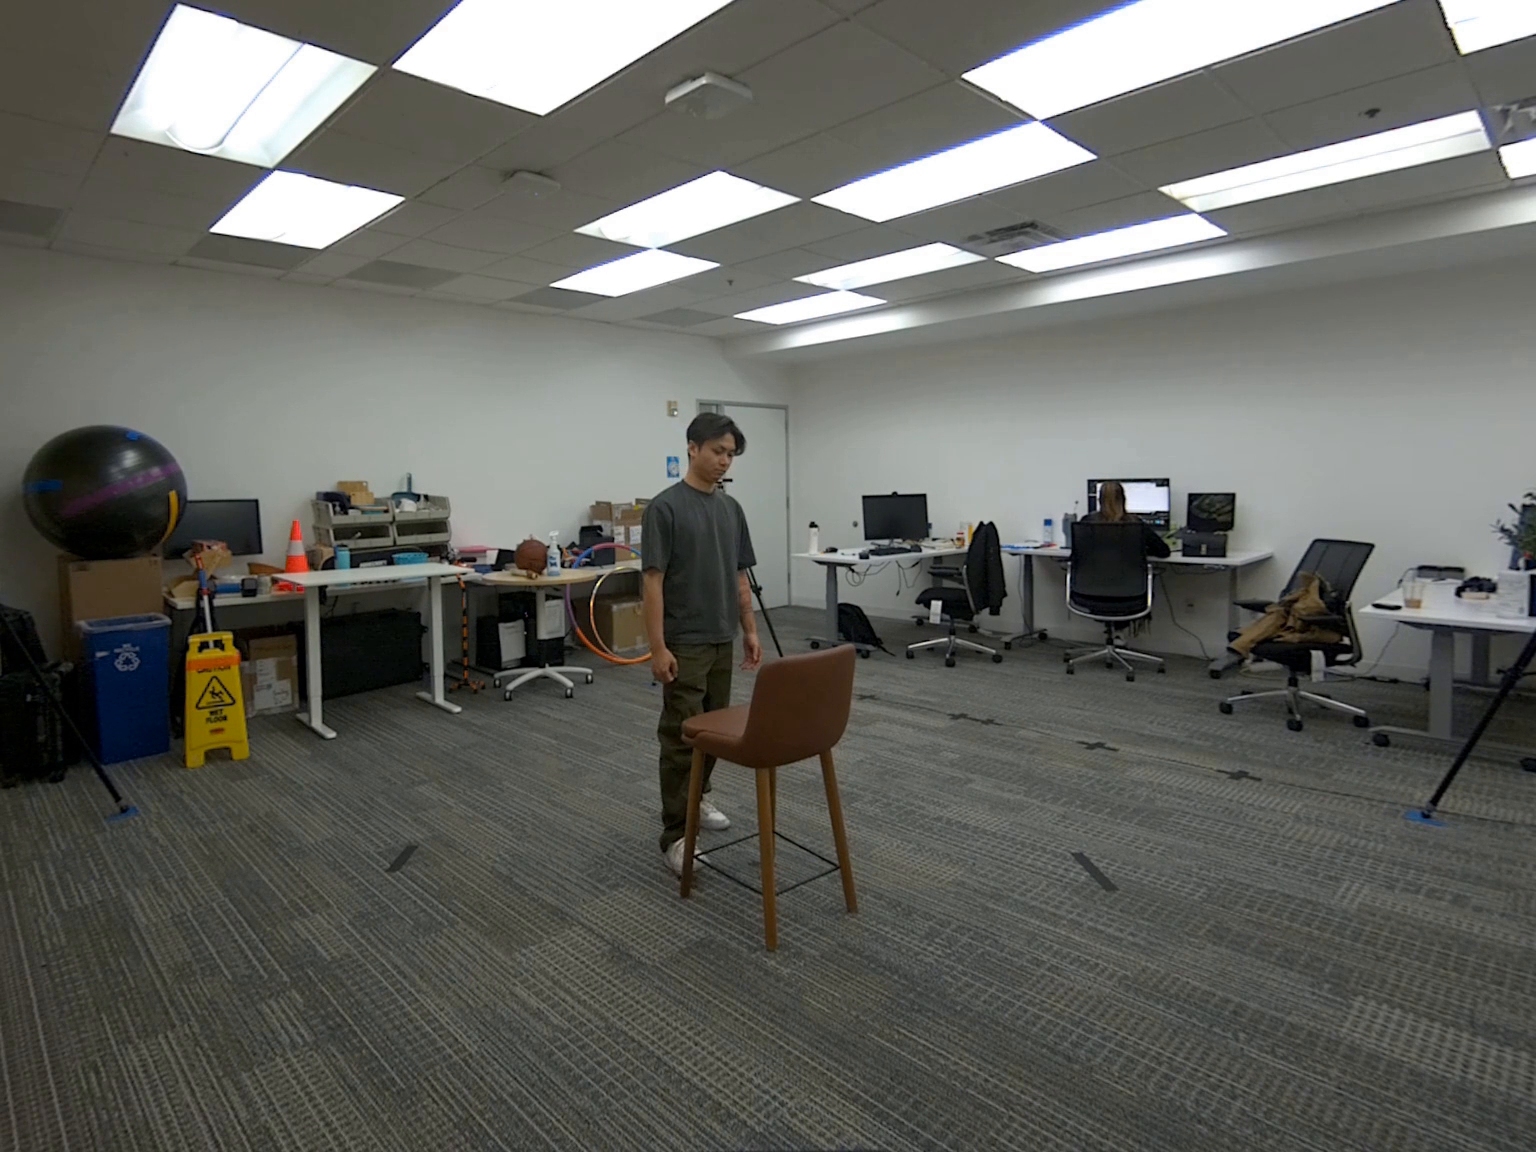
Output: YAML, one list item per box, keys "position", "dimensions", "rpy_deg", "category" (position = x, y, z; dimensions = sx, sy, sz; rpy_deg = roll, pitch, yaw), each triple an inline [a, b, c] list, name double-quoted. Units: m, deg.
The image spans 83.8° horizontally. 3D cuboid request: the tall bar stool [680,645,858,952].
- position: [0.001, 0.641, 2.791]
  dimensions: [0.444, 0.886, 0.482]
  rpy_deg: [-3, 6, -39]
  category: "tall bar stool"
